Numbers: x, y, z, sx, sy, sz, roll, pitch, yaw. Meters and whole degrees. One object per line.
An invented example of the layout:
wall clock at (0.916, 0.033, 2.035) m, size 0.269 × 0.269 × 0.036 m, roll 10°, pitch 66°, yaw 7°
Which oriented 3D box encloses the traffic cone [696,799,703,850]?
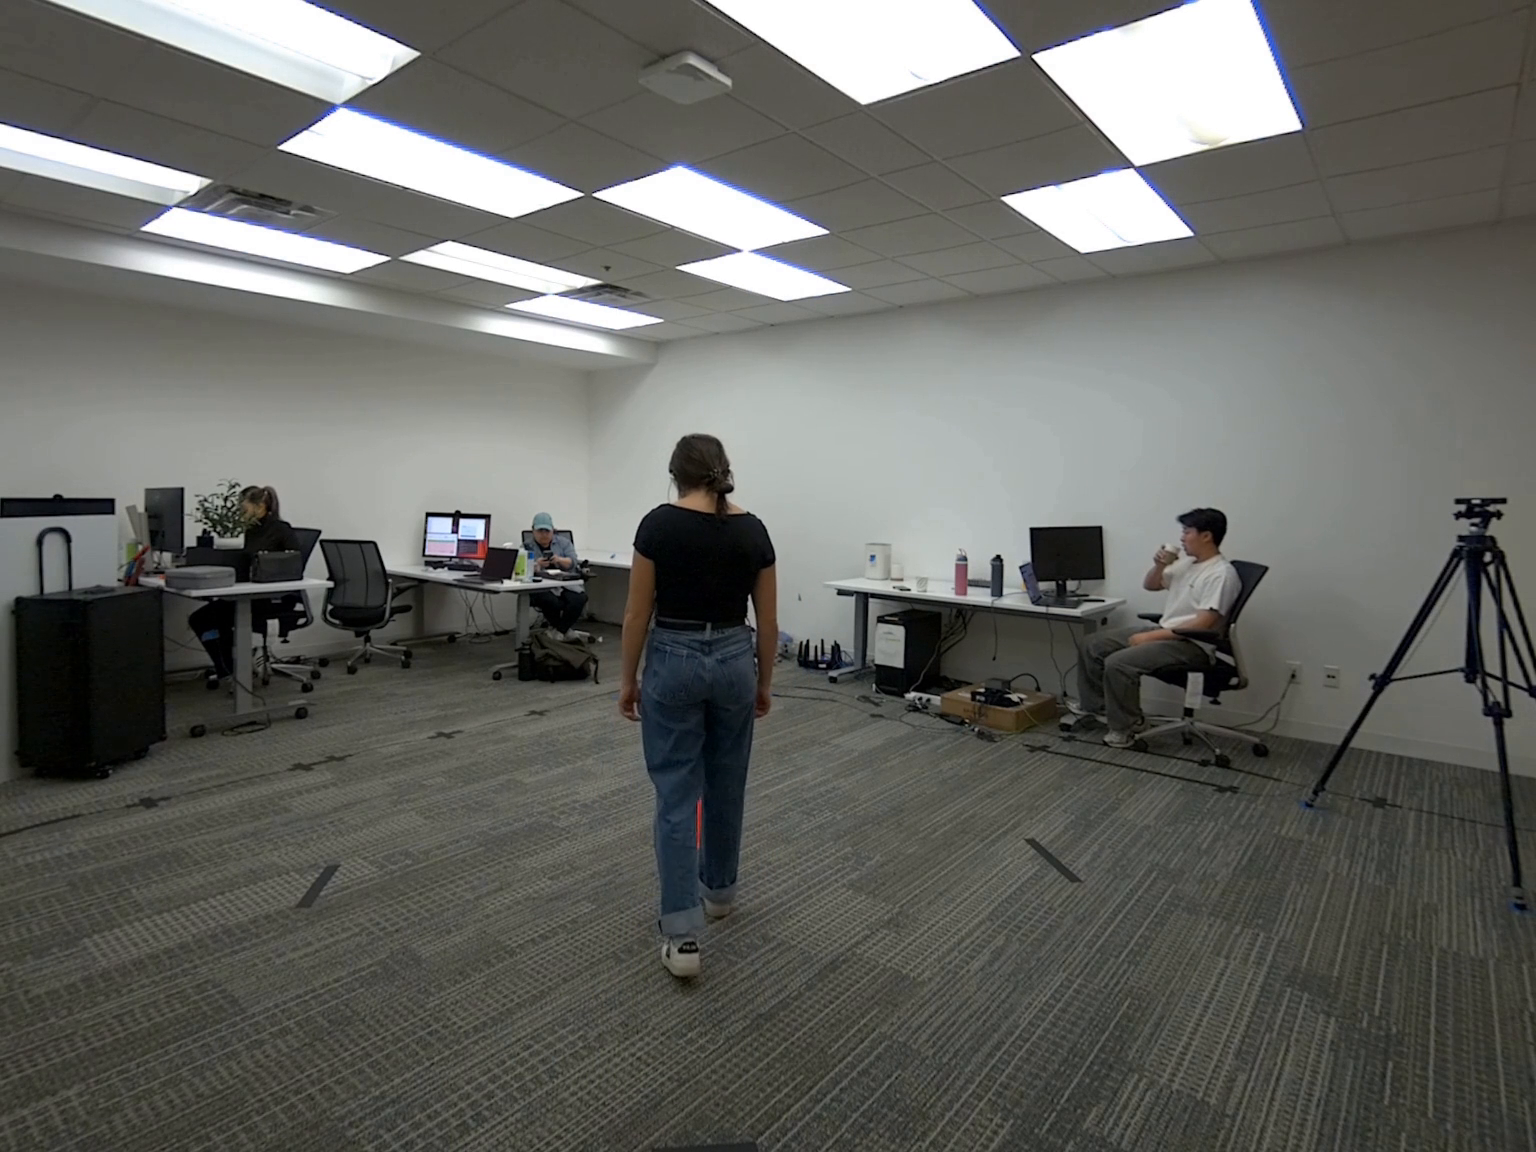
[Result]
traffic cone at (-0.299, 0.847, 3.394) m, size 0.209 × 0.382 × 0.200 m, roll 4°, pitch 5°, yaw 31°
